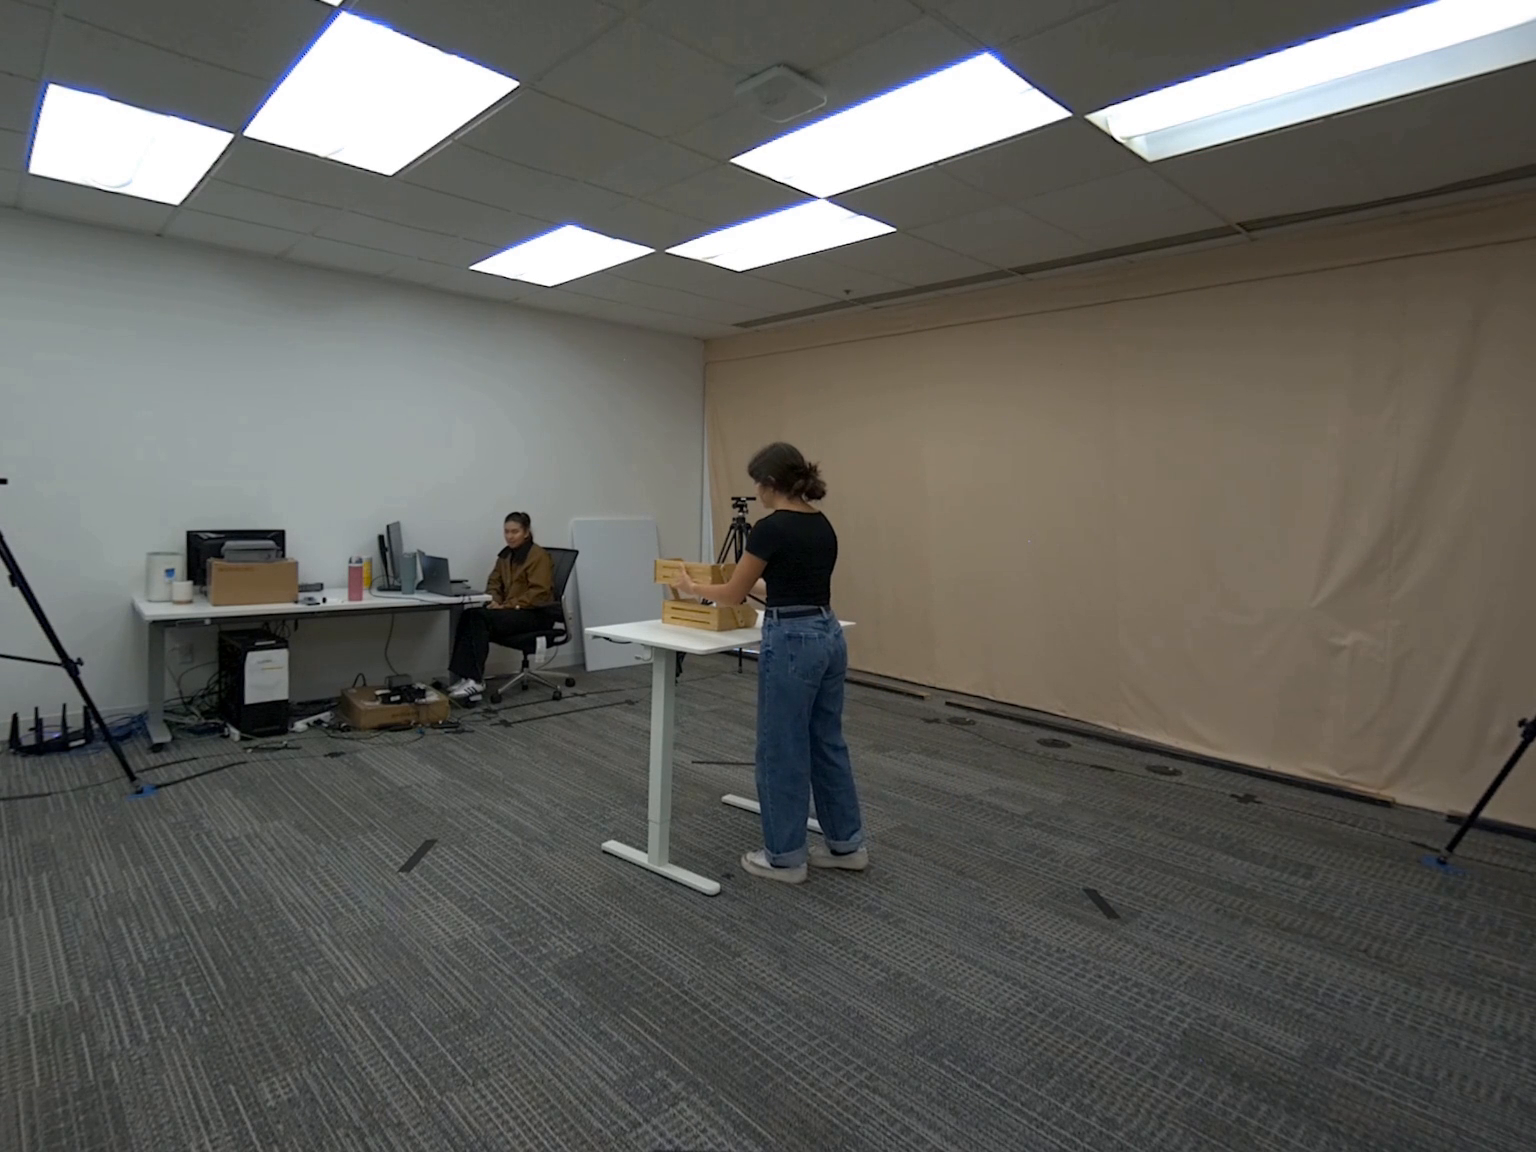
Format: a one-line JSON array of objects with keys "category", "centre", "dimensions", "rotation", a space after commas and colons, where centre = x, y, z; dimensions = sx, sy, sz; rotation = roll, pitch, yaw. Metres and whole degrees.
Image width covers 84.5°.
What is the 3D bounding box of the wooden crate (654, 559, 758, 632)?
[{"category": "wooden crate", "centre": [-0.249, 0.061, 3.378], "dimensions": [0.332, 0.272, 0.295], "rotation": [5, 6, 37]}]
